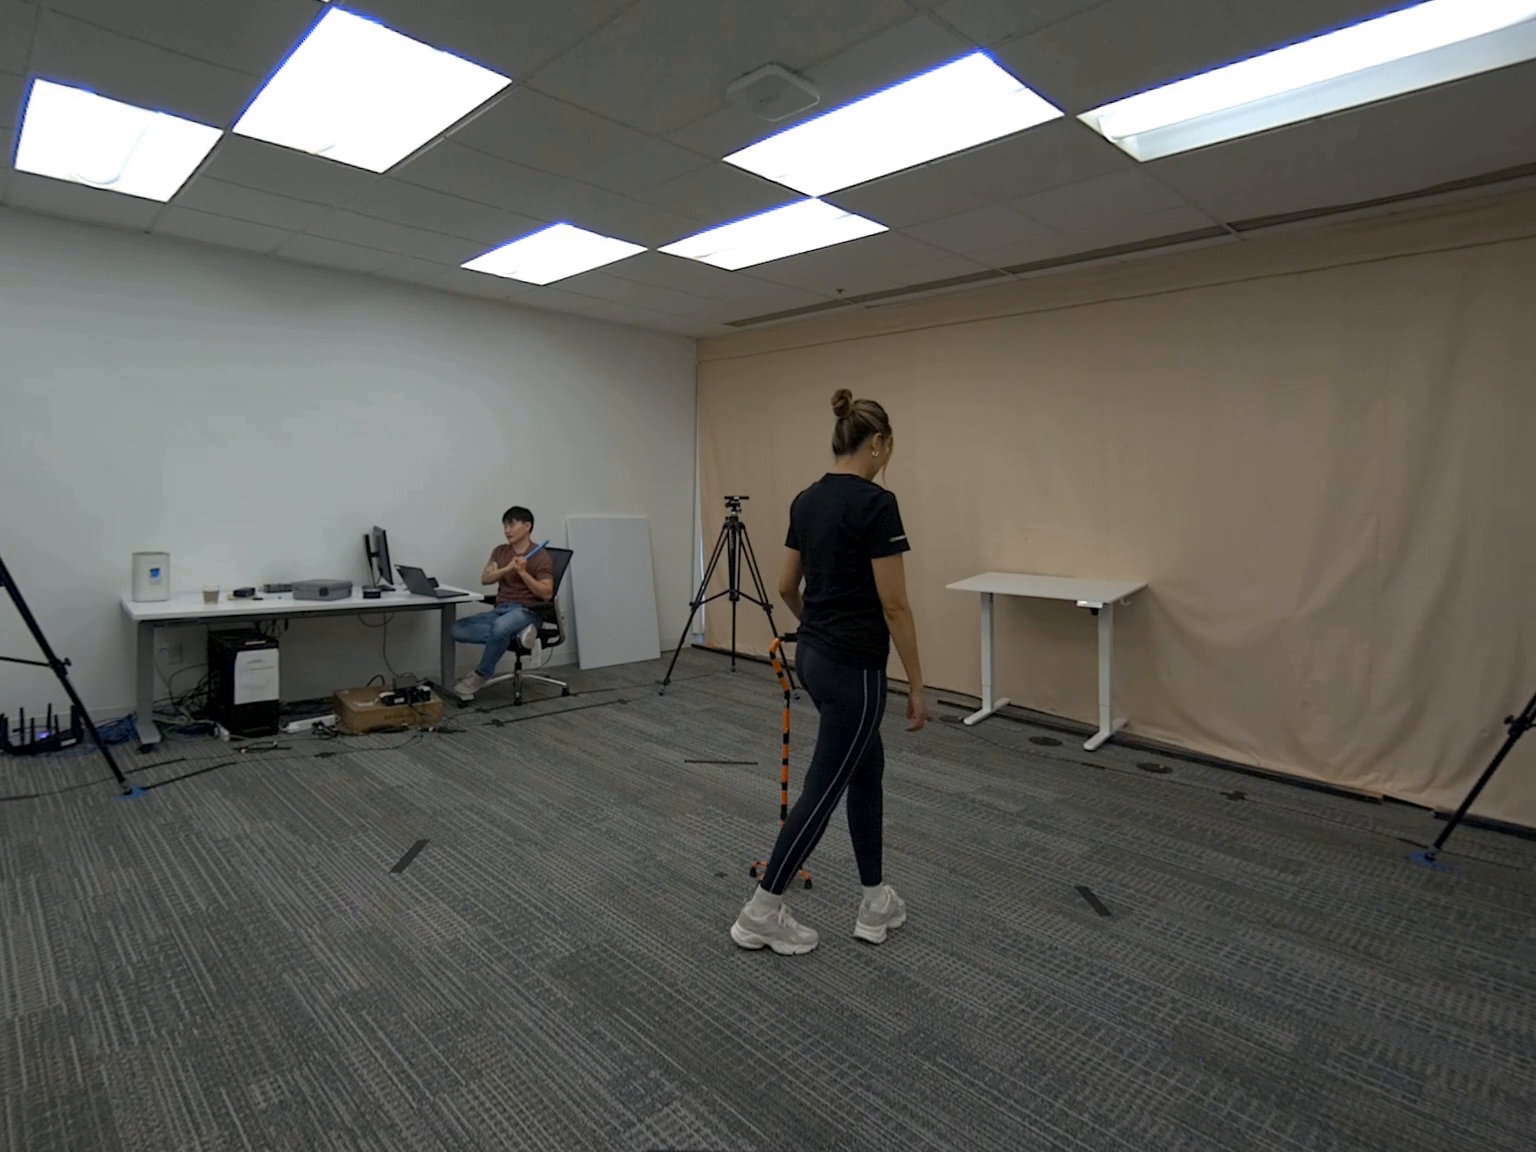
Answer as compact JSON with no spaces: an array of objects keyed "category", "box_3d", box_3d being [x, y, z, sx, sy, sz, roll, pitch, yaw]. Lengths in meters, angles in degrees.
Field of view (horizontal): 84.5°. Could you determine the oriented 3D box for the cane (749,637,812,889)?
[{"category":"cane","box_3d":[0.054,0.663,3.031,0.204,0.906,0.153,1,3,-13]}]
